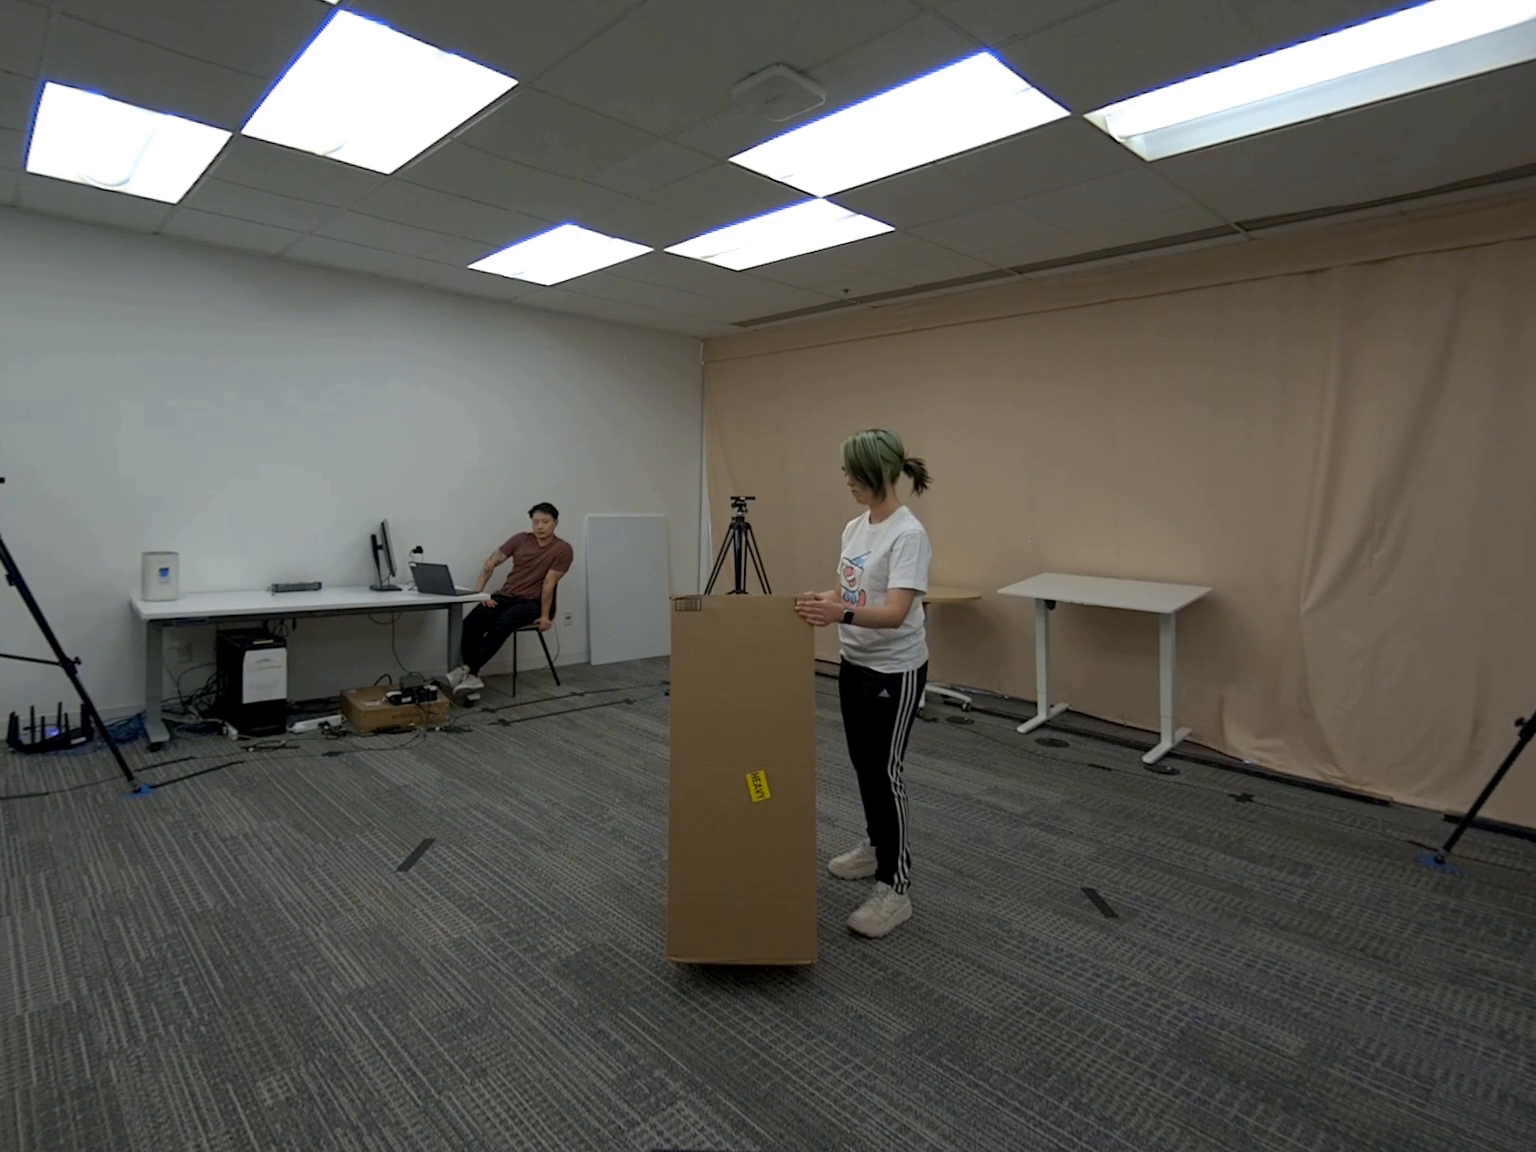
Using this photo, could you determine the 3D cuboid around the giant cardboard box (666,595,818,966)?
[{"bbox_3d":[-0.095,0.600,2.673,0.426,1.032,0.574,0,-8,-1],"label":"giant cardboard box"}]
